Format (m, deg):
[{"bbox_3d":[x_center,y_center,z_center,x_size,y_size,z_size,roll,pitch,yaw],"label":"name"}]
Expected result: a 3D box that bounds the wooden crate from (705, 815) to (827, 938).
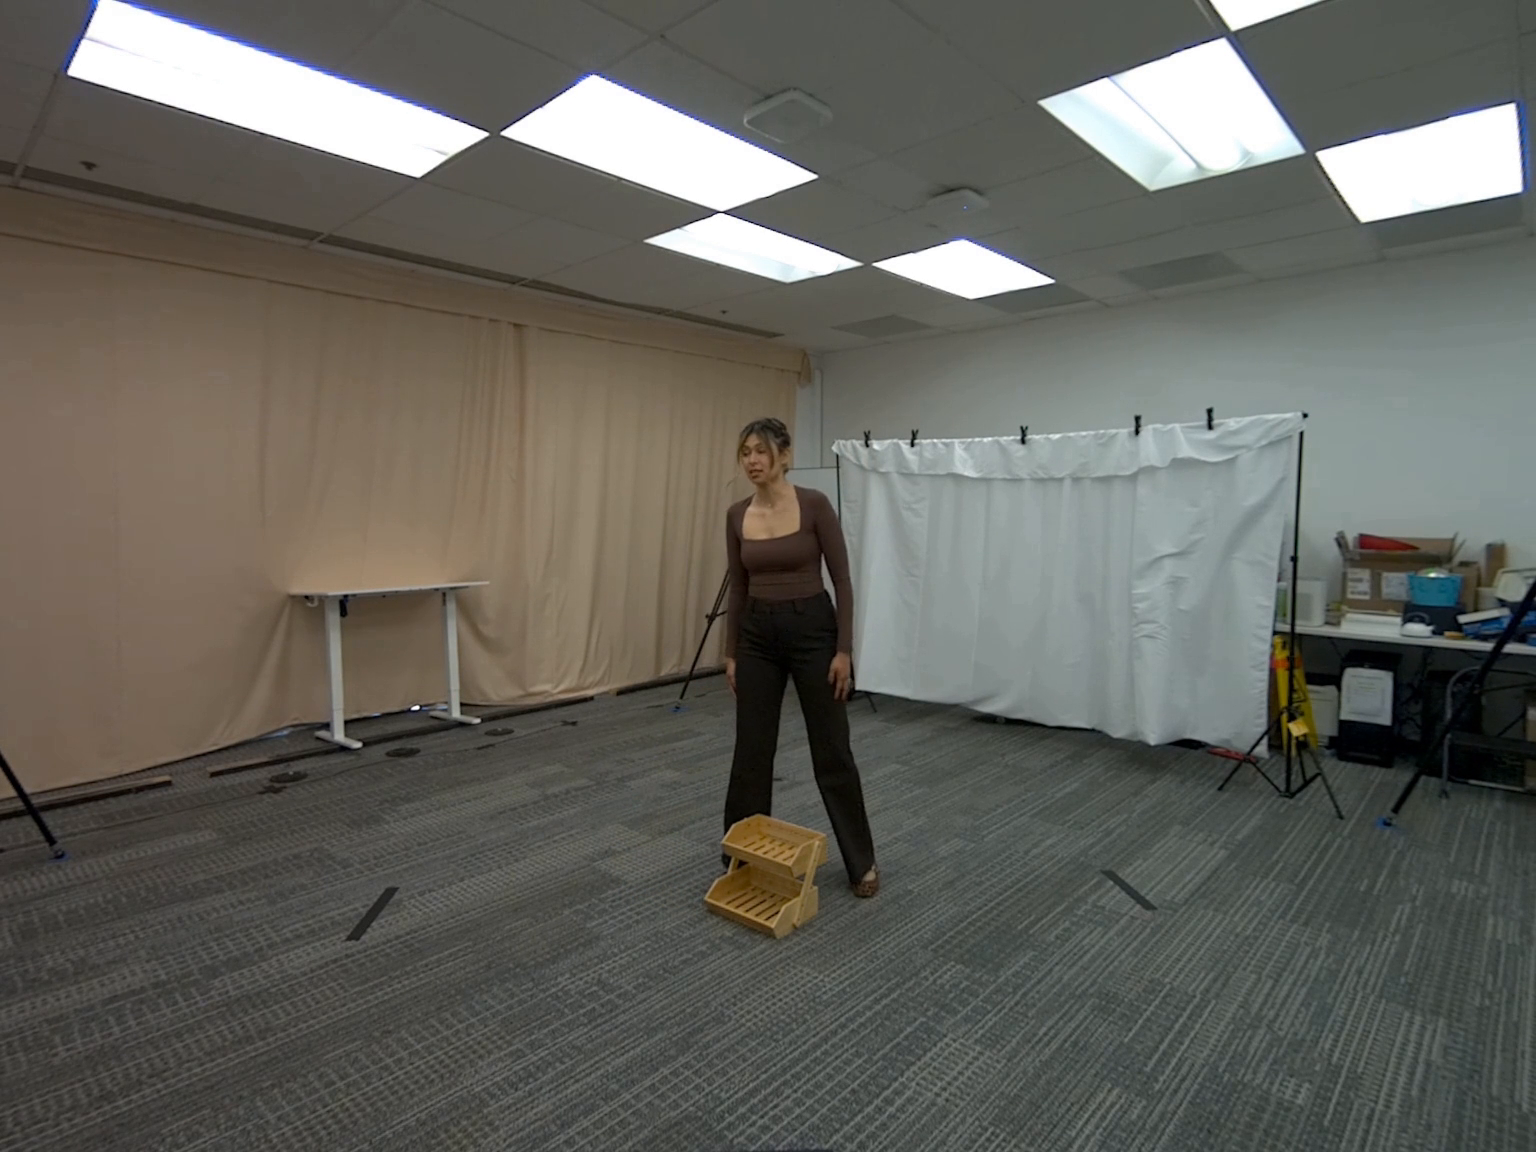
[{"bbox_3d":[-0.005,1.020,2.889,0.335,0.273,0.293,3,5,39],"label":"wooden crate"}]
